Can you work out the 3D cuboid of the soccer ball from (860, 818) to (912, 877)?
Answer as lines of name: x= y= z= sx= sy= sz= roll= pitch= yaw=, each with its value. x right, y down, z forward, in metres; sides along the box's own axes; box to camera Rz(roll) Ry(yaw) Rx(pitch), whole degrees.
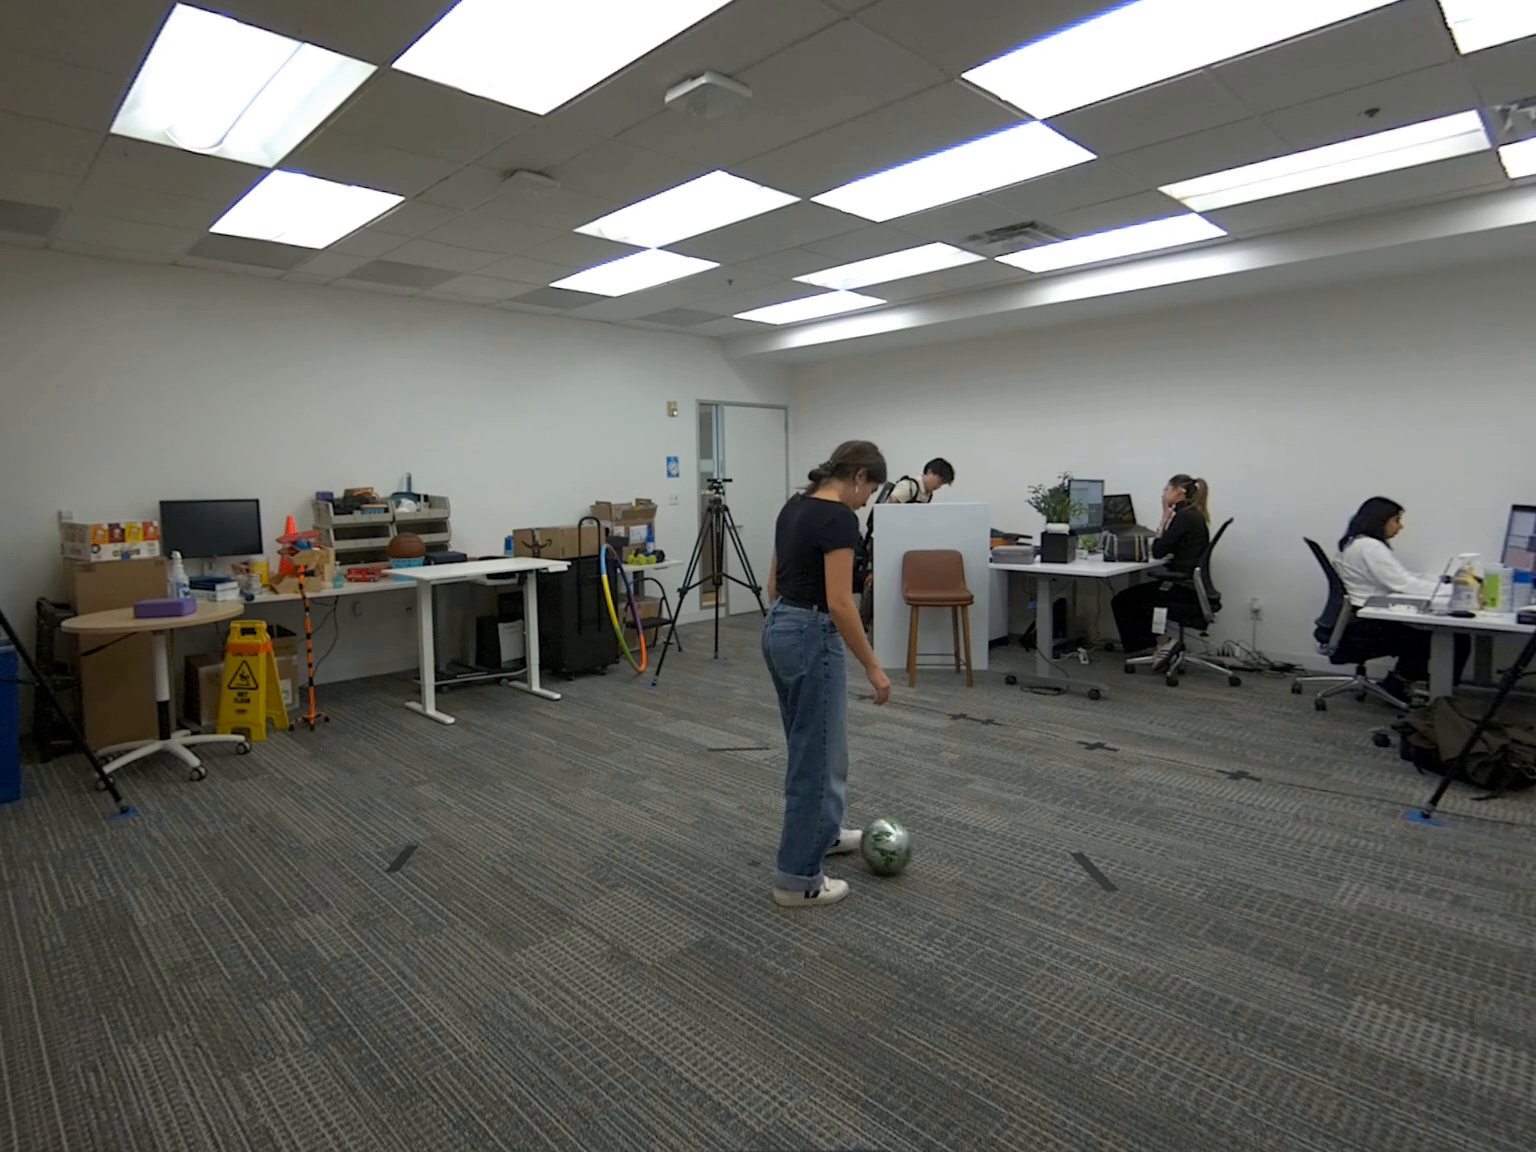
soccer ball: x=0.422 y=0.954 z=3.026 sx=0.187 sy=0.187 sz=0.188 roll=-1 pitch=5 yaw=-2
